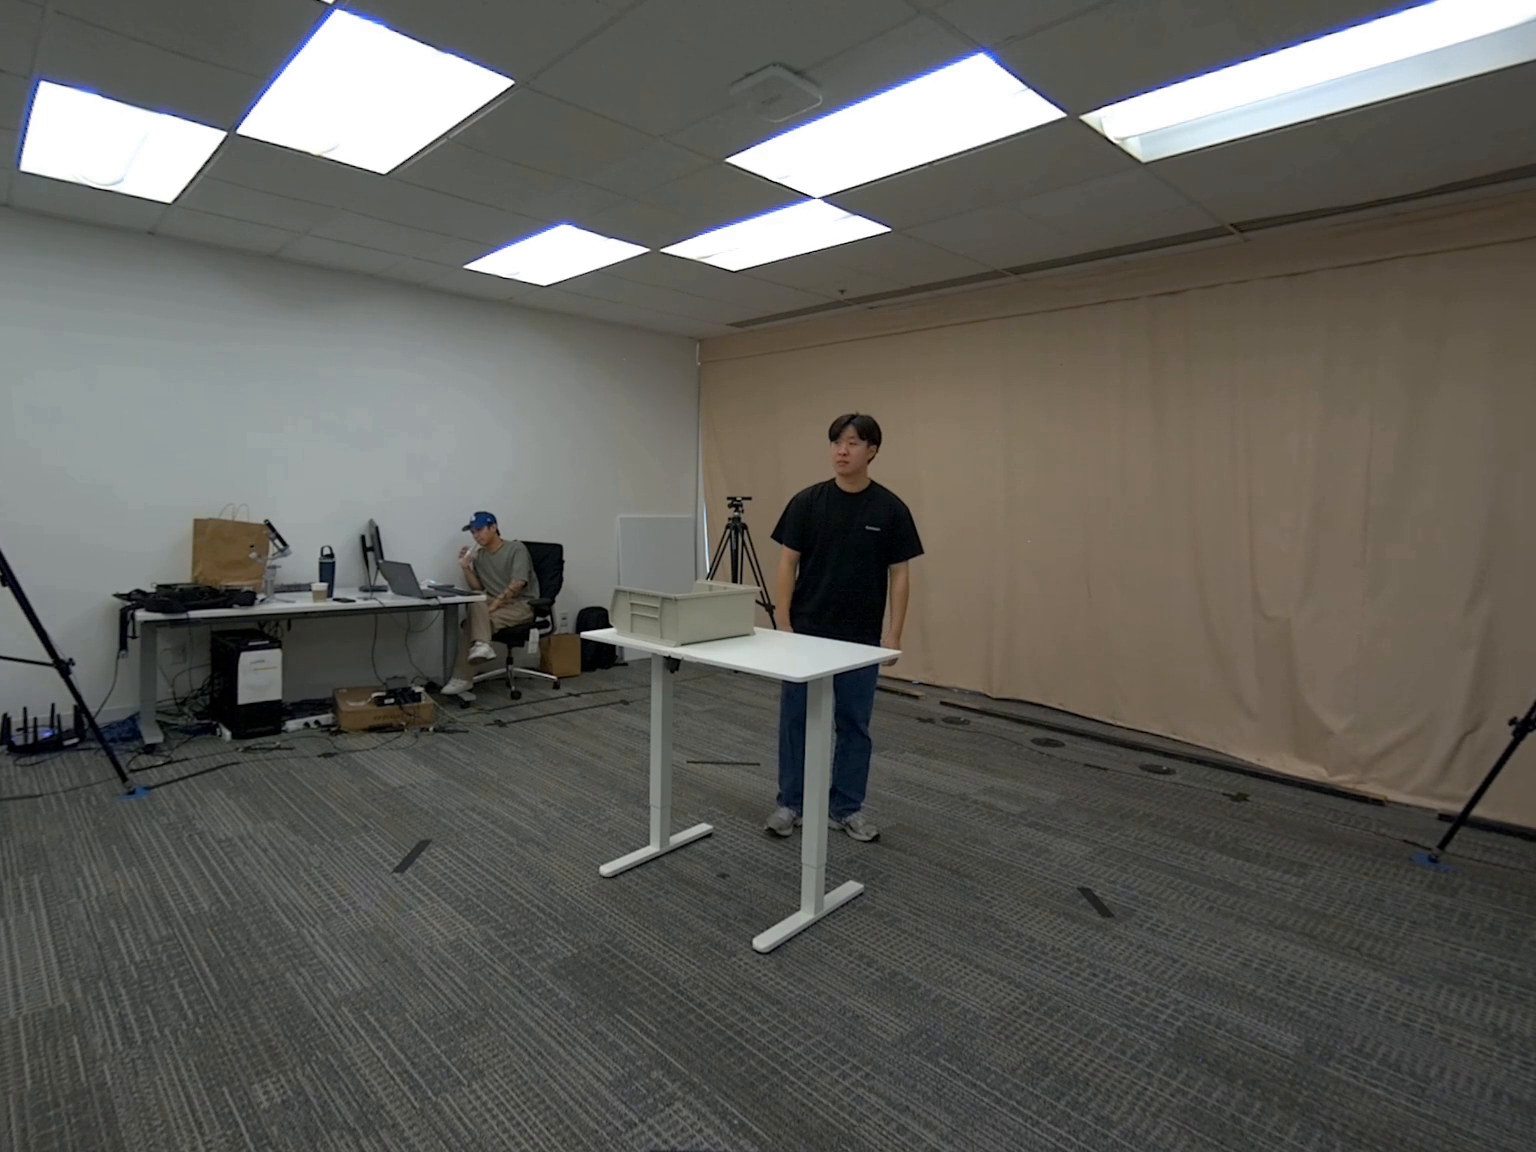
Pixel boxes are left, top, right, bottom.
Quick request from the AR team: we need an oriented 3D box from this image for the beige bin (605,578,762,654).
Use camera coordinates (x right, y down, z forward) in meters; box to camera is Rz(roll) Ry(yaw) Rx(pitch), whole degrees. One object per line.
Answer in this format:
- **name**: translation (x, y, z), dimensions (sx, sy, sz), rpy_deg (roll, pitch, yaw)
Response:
- **beige bin**: translation (-0.312, 0.132, 3.108), dimensions (0.387, 0.188, 0.413), rpy_deg (8, 8, 43)
